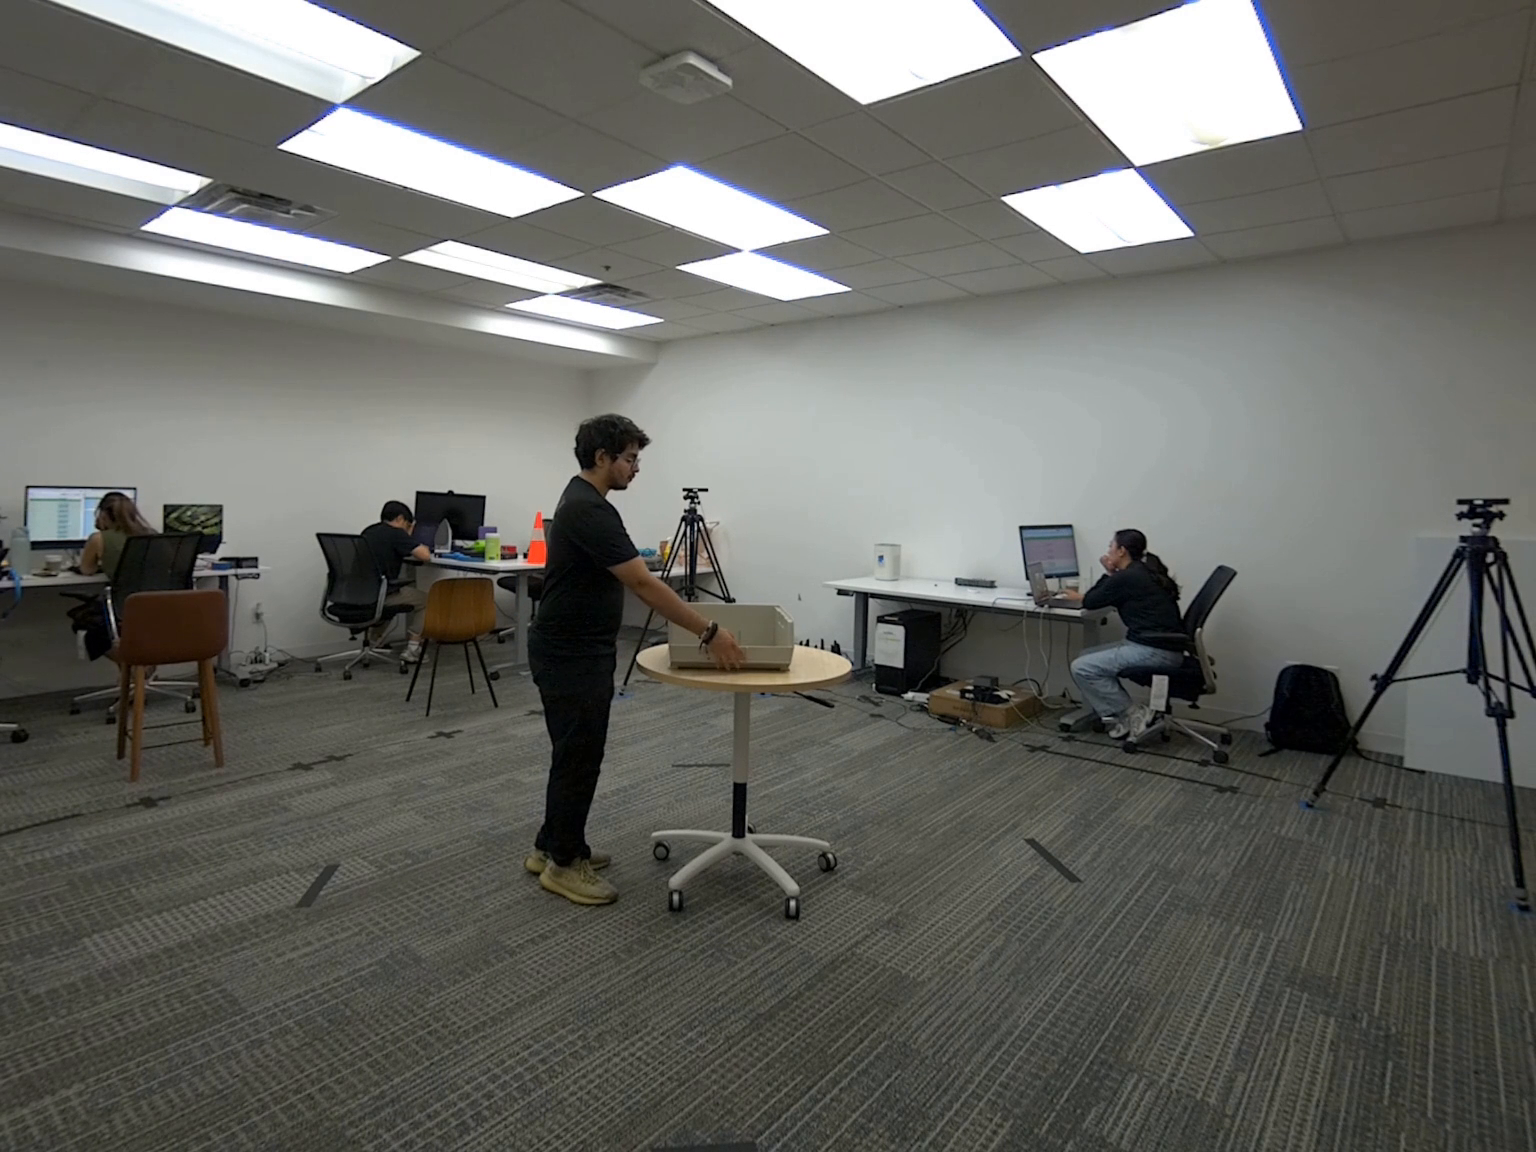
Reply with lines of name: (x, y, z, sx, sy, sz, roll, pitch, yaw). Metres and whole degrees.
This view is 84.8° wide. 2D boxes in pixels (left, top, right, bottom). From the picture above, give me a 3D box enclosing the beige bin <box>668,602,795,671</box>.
beige bin: (-0.147, 0.216, 2.973, 0.419, 0.188, 0.381, 0, 5, -7)
